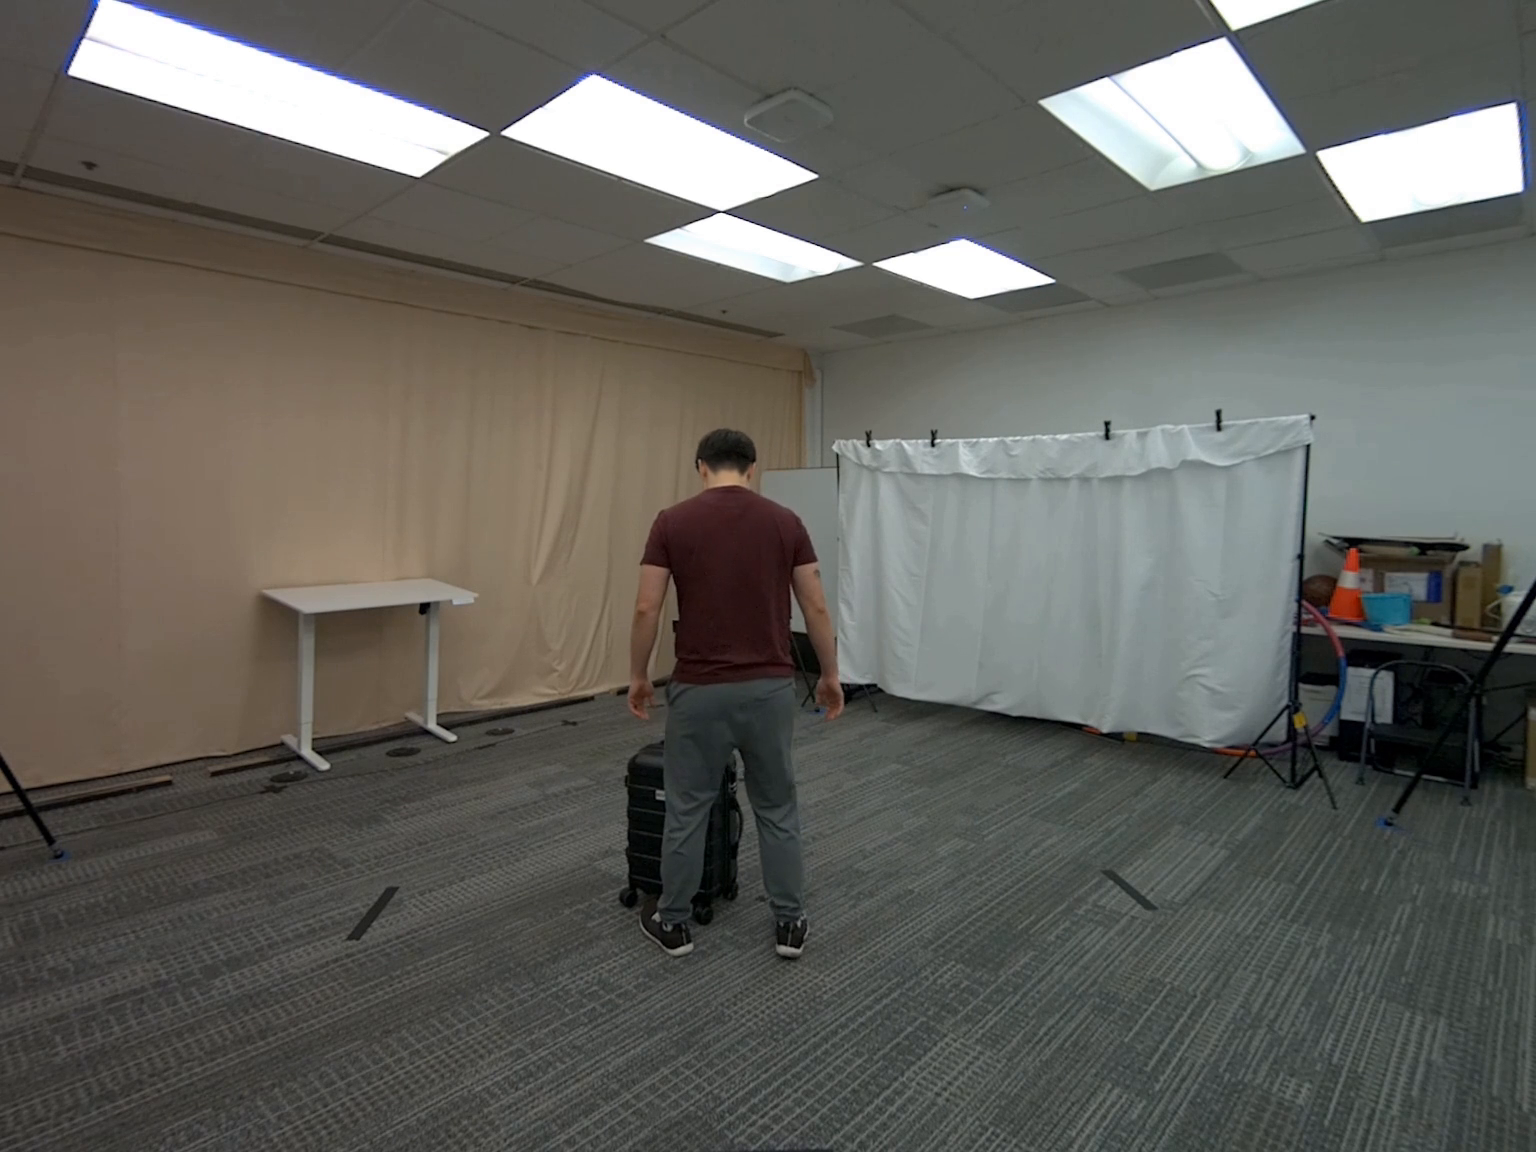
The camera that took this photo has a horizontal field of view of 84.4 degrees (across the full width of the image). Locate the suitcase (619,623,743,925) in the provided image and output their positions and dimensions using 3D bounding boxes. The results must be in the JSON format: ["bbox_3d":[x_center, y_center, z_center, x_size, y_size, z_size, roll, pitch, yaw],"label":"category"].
[{"bbox_3d":[-0.307,0.667,2.957,0.394,0.977,0.251,1,3,25],"label":"suitcase"}]
